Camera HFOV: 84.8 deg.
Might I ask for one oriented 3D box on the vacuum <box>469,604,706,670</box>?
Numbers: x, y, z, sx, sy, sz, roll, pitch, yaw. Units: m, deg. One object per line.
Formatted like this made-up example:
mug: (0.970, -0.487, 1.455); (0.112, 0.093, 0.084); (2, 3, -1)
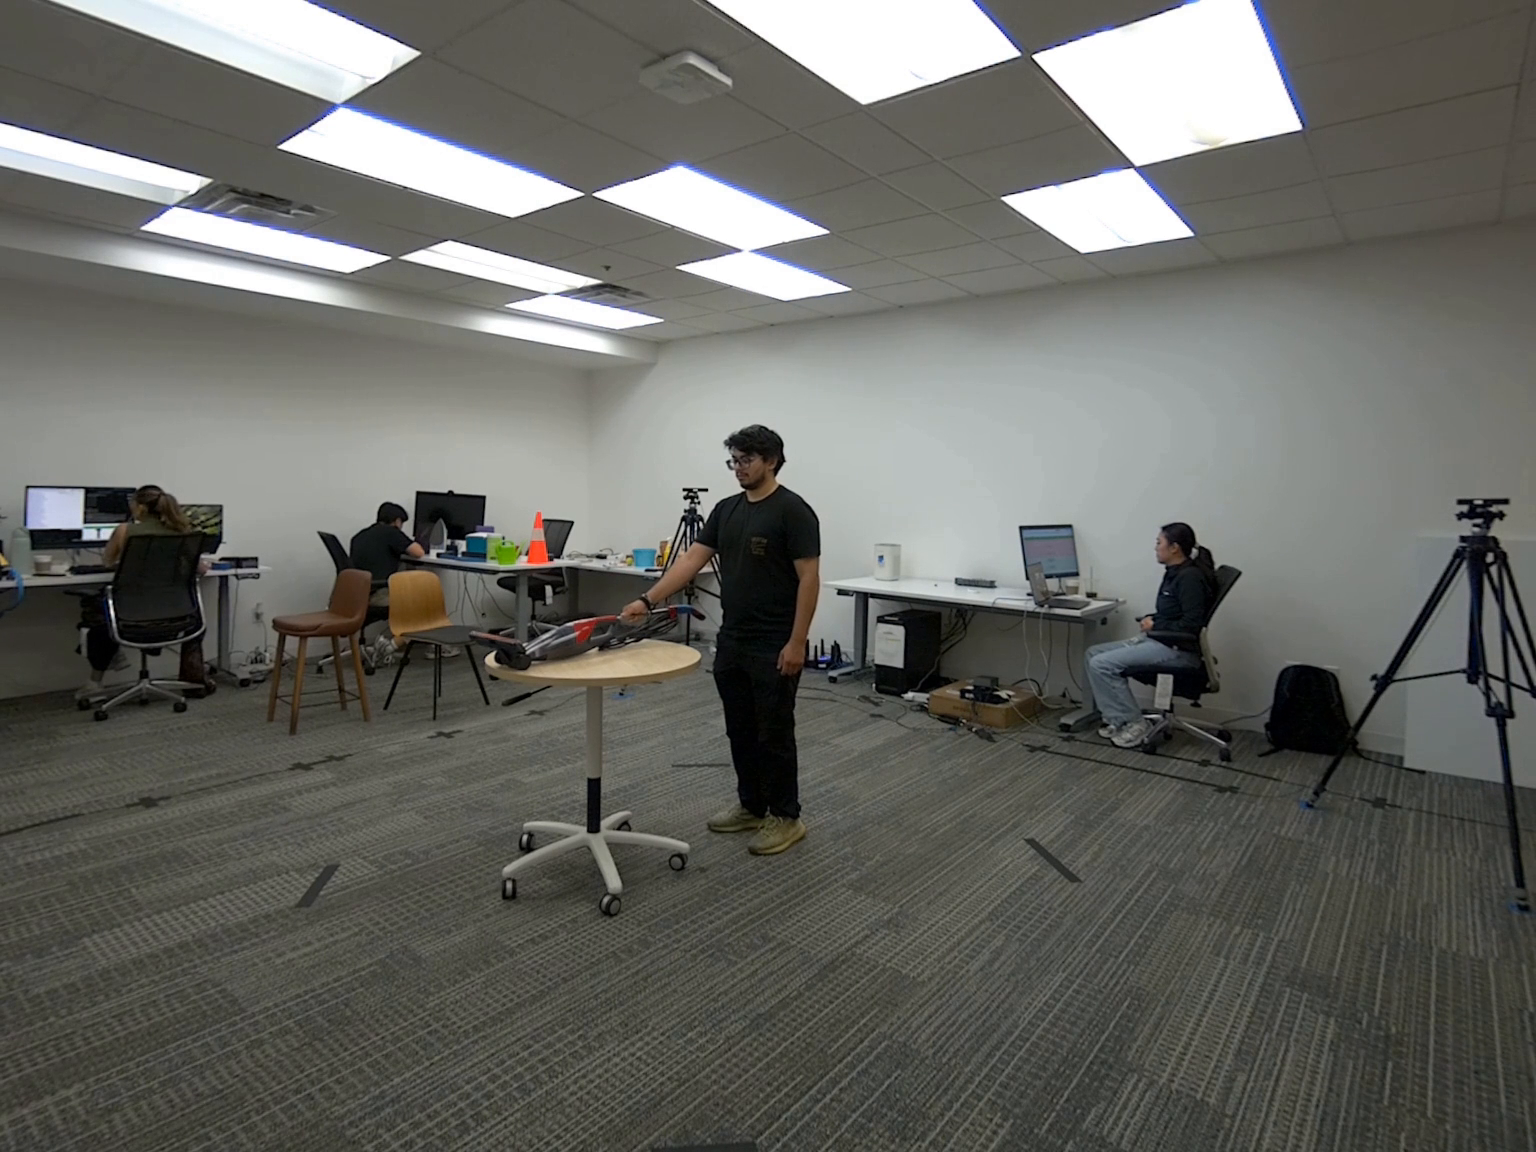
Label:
vacuum: (-0.603, 0.219, 3.203); (0.261, 0.143, 1.020); (10, 11, 36)
